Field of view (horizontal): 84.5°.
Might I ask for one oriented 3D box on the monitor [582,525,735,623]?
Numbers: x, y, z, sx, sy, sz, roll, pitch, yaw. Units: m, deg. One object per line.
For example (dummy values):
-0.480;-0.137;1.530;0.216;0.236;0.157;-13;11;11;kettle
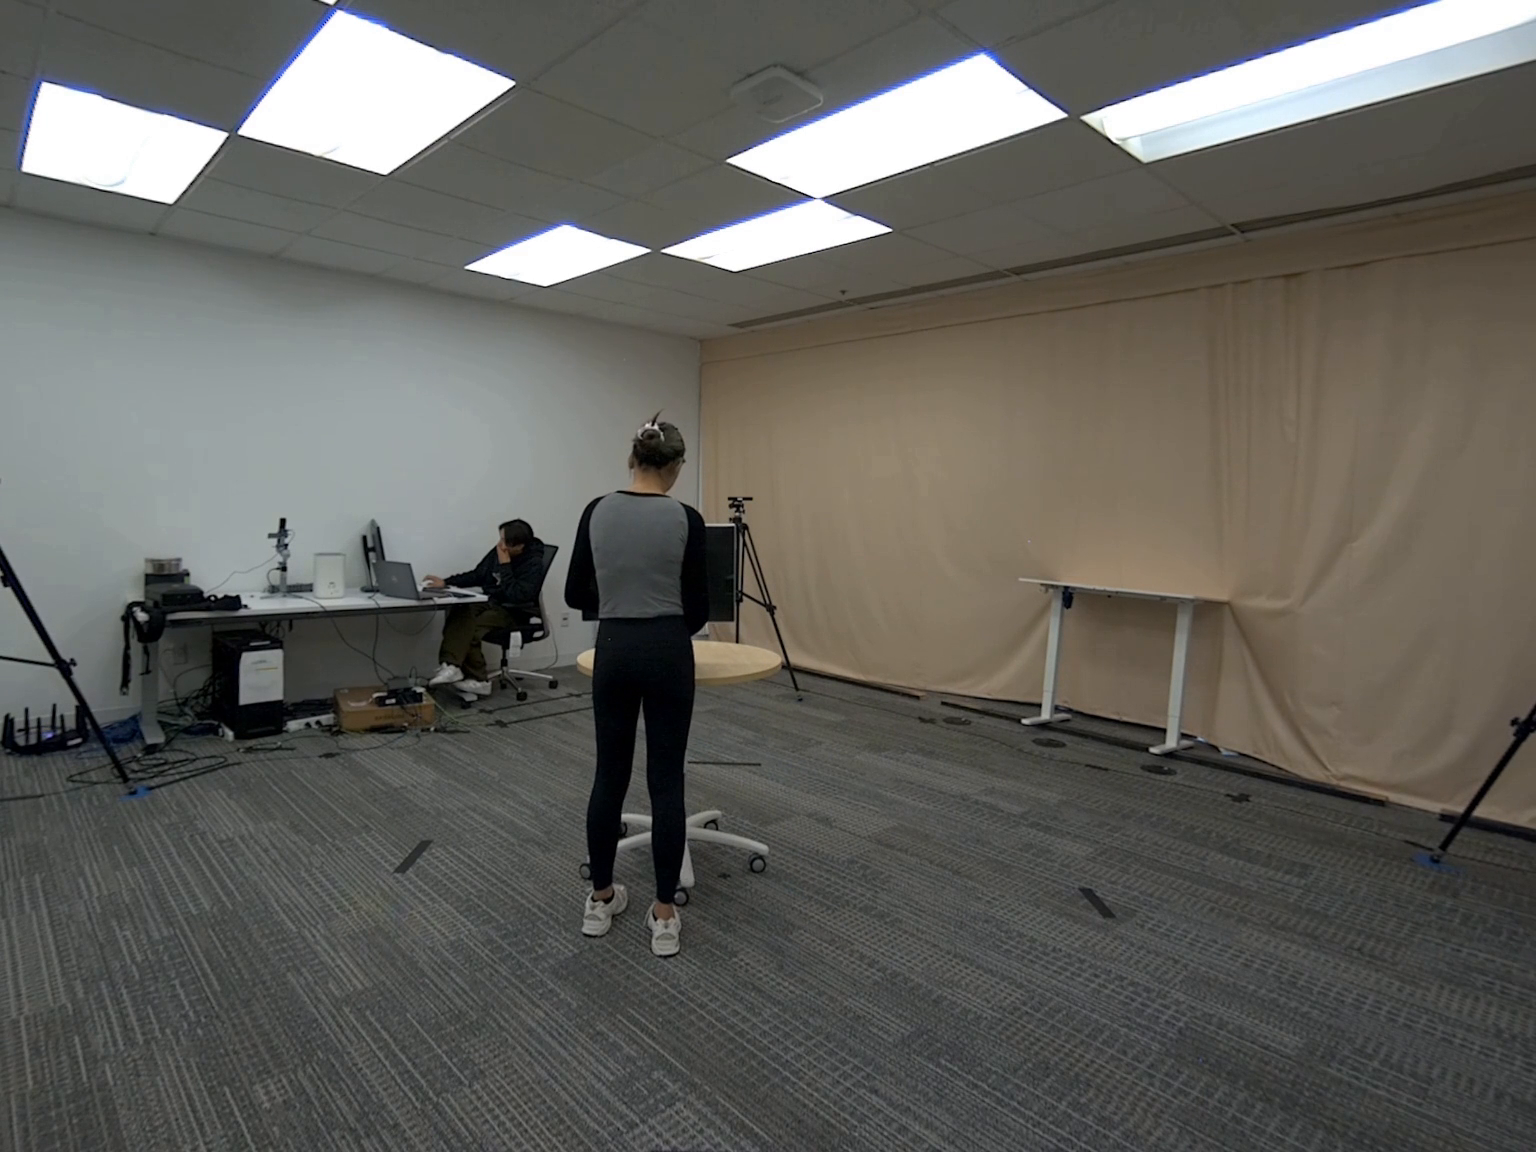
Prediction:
-0.387;0.077;2.981;0.538;0.521;0.188;1;3;-2;monitor
